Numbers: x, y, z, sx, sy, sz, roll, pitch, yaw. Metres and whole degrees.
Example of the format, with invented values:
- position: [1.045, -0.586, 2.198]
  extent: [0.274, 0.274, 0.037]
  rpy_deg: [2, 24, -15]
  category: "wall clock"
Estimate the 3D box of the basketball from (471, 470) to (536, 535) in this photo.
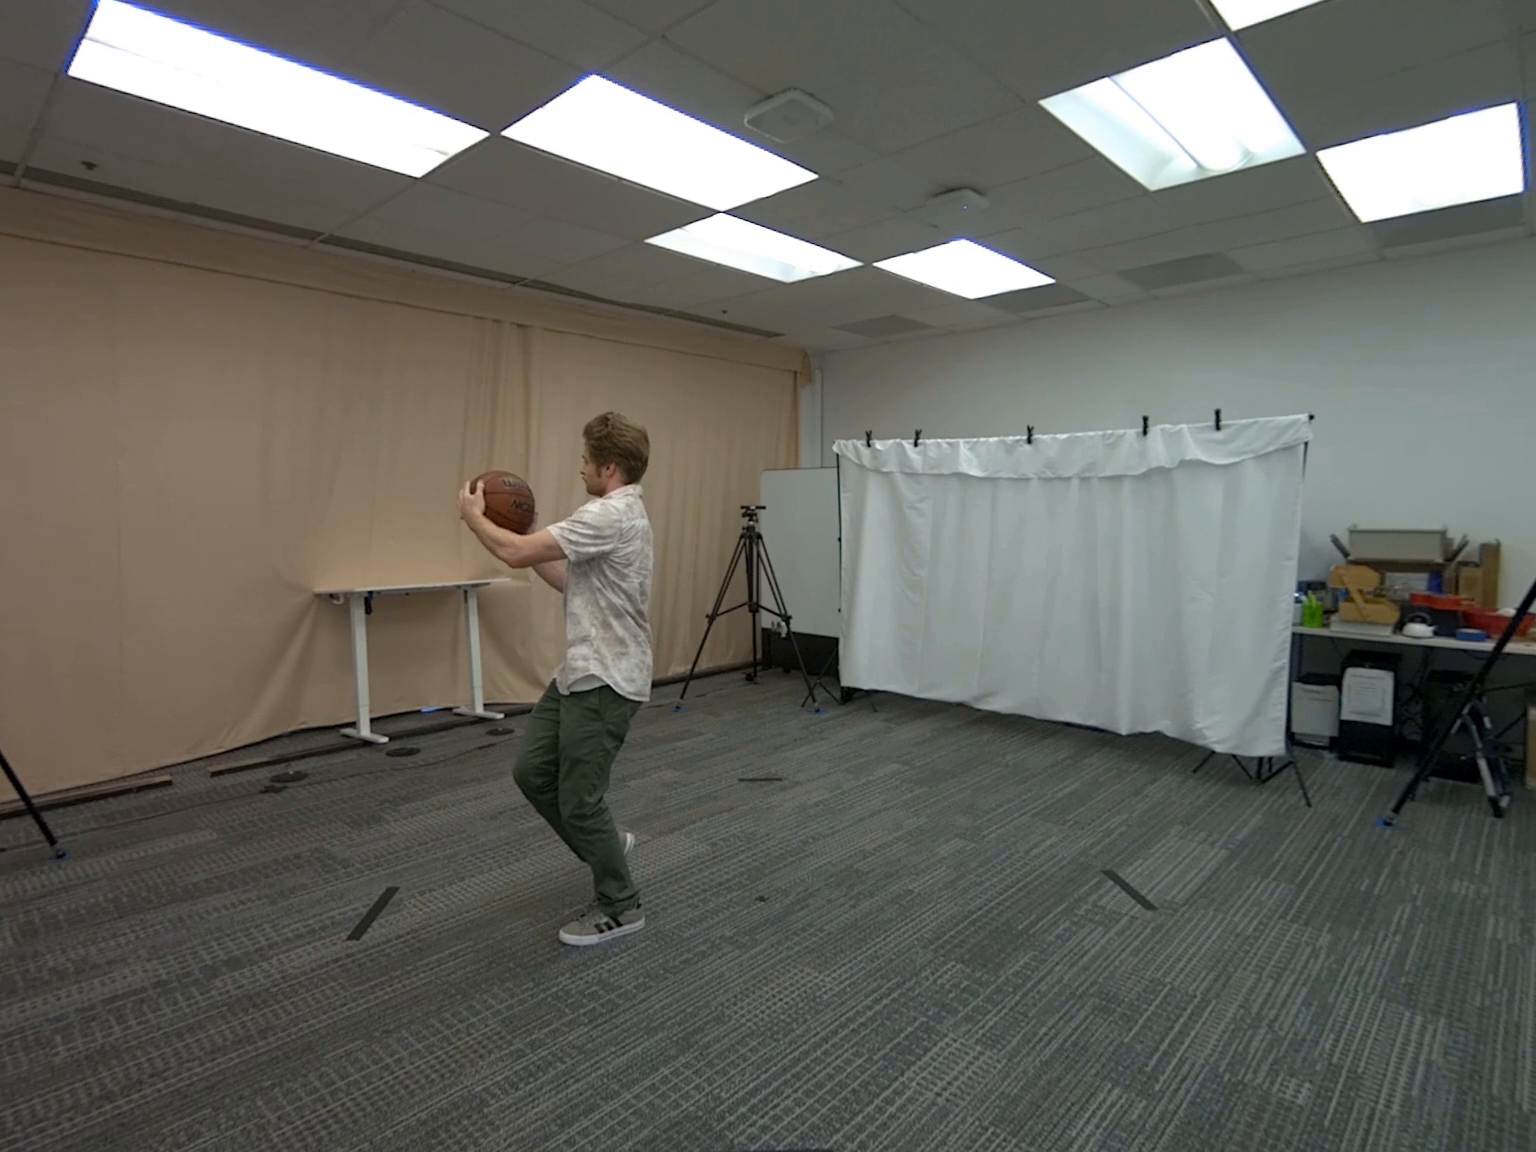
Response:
- position: [-0.906, -0.238, 2.829]
  extent: [0.236, 0.235, 0.237]
  rpy_deg: [0, 4, -2]
  category: "basketball"
